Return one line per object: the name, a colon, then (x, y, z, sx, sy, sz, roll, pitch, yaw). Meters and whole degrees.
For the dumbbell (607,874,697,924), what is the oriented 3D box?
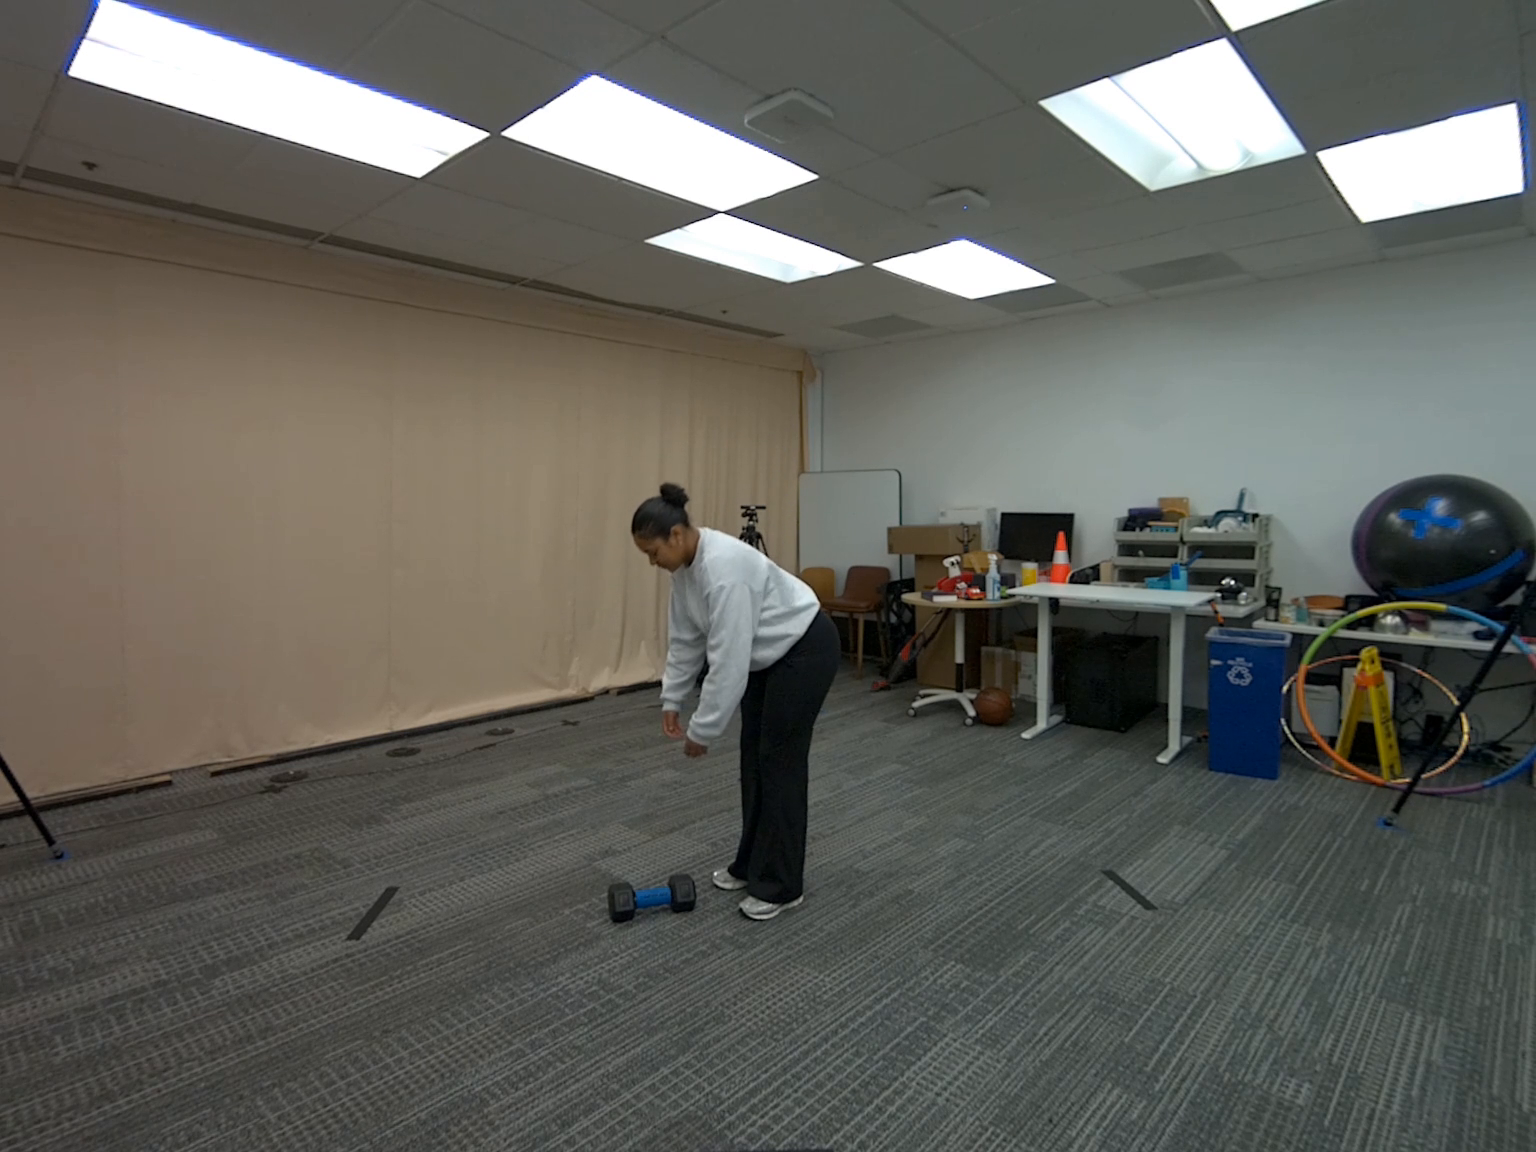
dumbbell: (-0.396, 1.109, 2.878, 0.289, 0.125, 0.109, -1, -24, -16)
